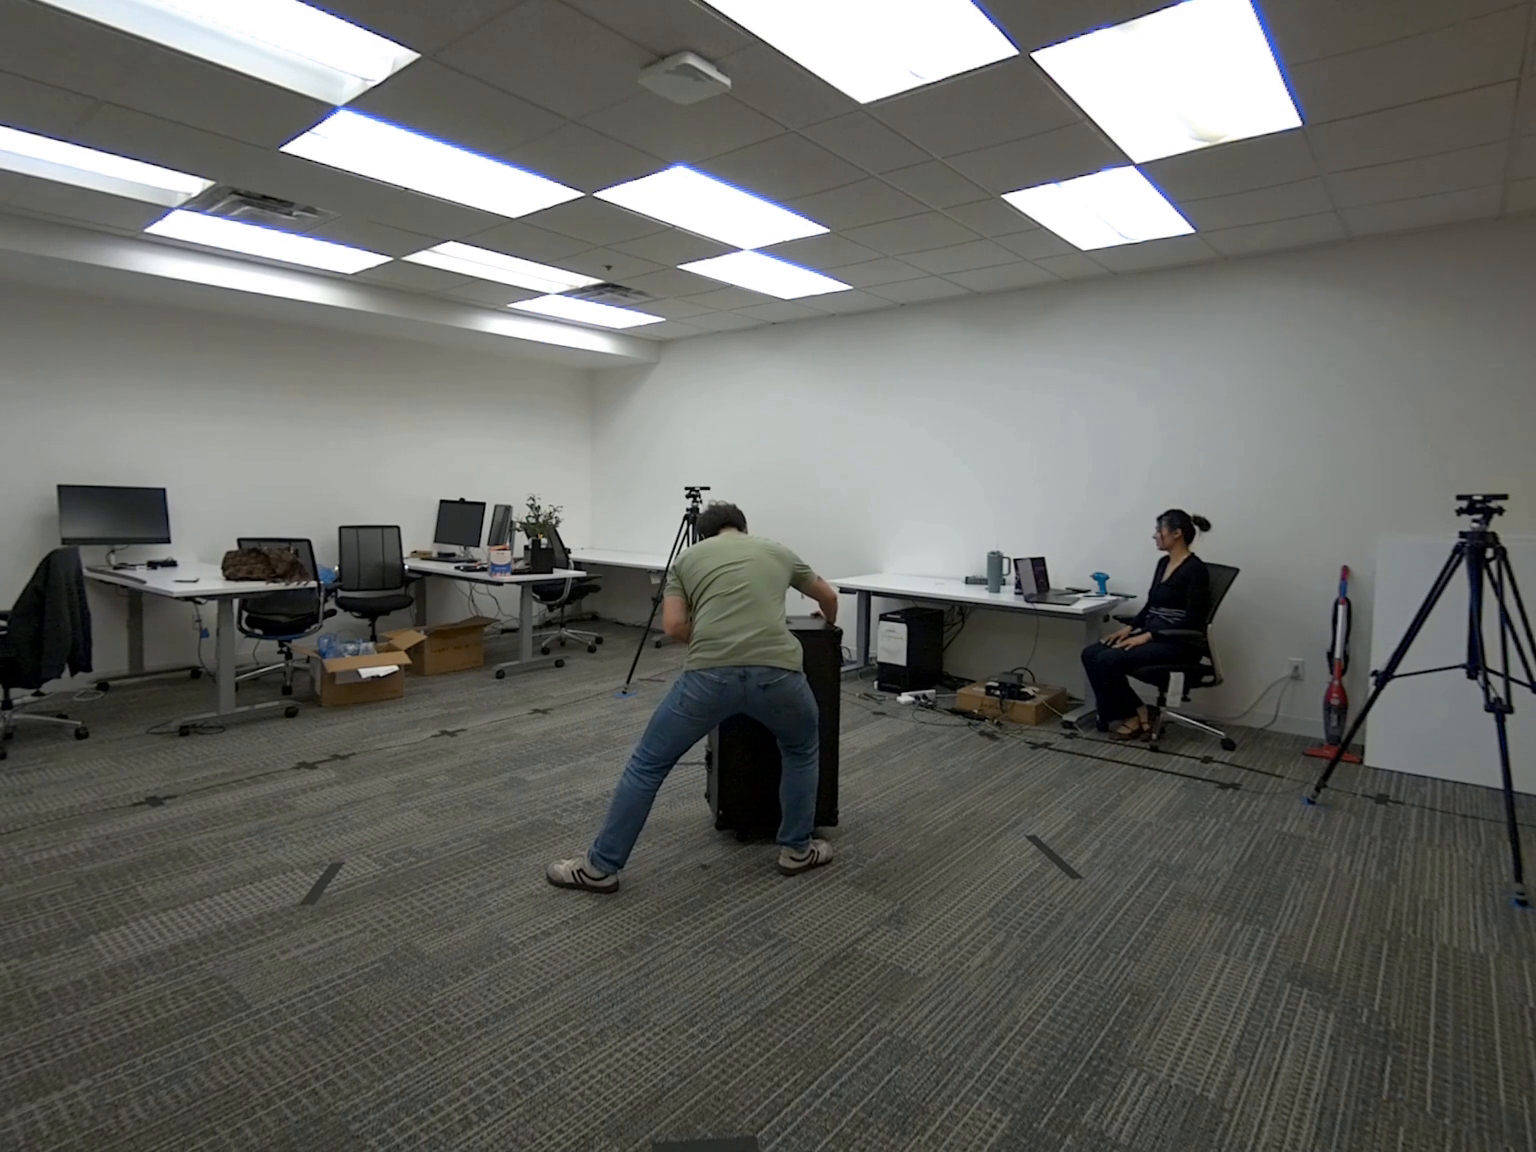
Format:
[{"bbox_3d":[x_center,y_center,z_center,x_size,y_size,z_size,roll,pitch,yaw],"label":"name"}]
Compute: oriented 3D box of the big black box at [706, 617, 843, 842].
[{"bbox_3d":[0.009,0.607,3.453,0.517,0.858,0.401,1,5,-8],"label":"big black box"}]
